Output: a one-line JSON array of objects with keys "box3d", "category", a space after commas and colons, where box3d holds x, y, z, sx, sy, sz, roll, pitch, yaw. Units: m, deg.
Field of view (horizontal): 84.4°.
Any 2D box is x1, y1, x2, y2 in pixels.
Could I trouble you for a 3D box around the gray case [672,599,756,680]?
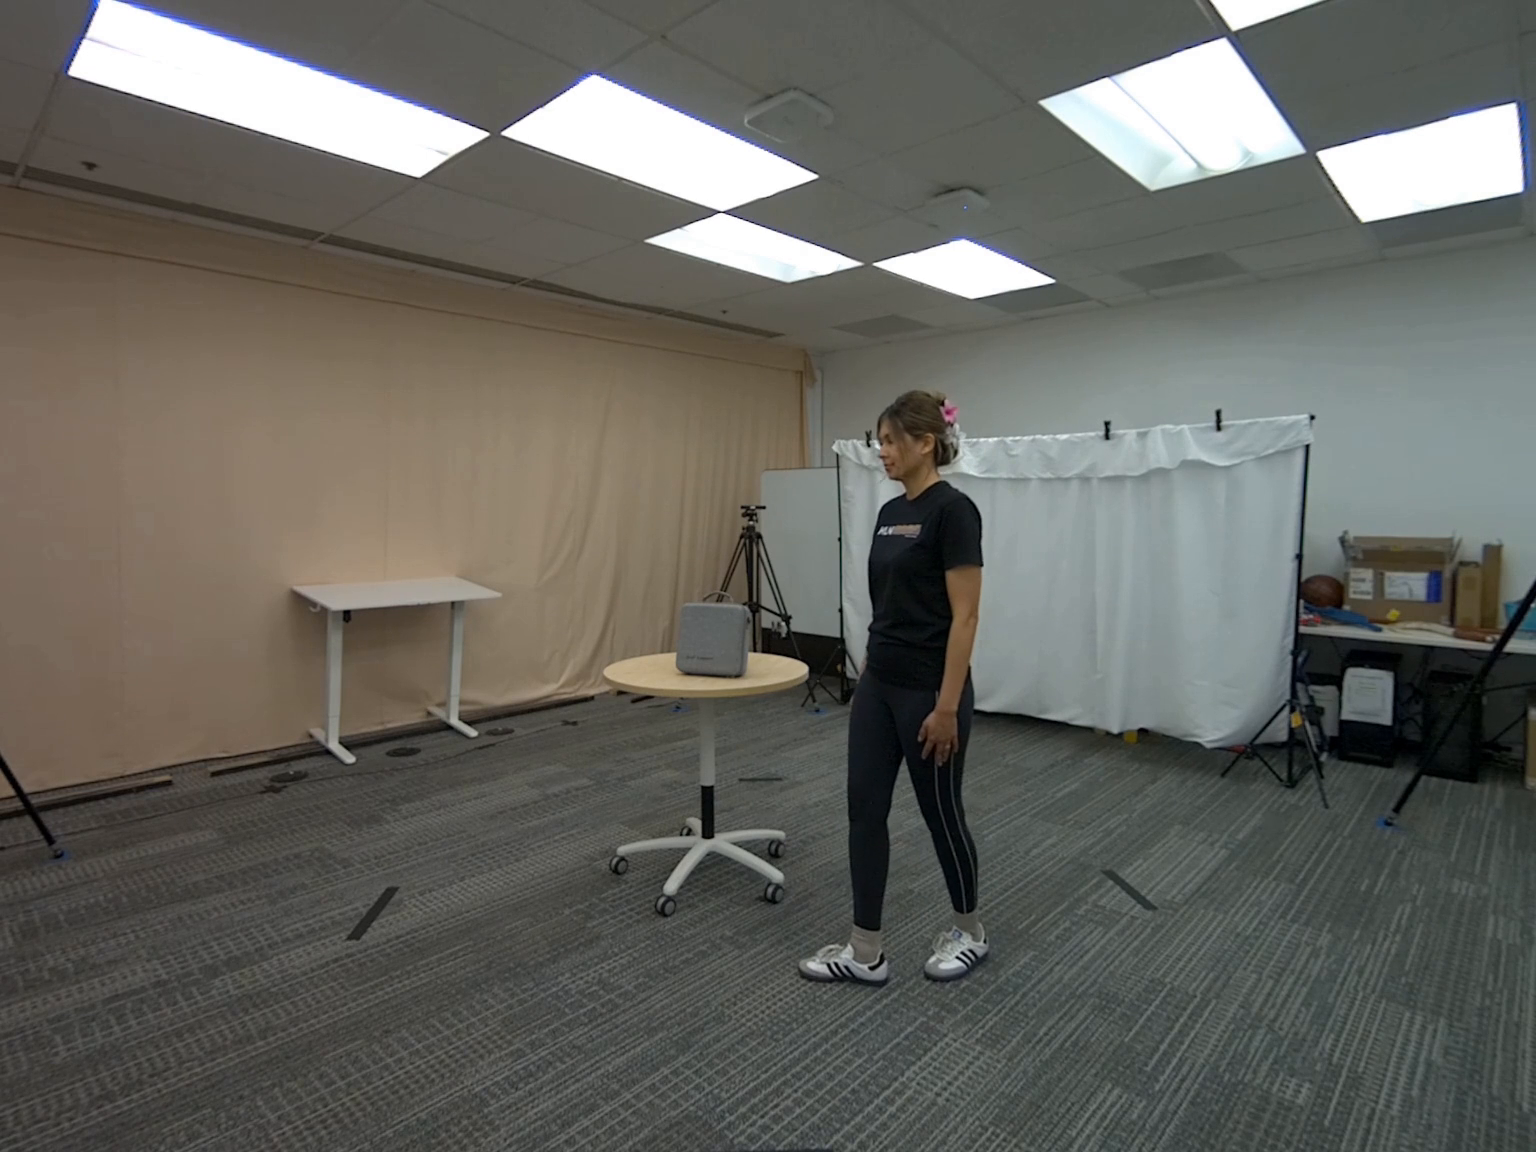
[{"box3d": [-0.195, 0.224, 3.035, 0.263, 0.261, 0.101, 2, -7, 23], "category": "gray case"}]
